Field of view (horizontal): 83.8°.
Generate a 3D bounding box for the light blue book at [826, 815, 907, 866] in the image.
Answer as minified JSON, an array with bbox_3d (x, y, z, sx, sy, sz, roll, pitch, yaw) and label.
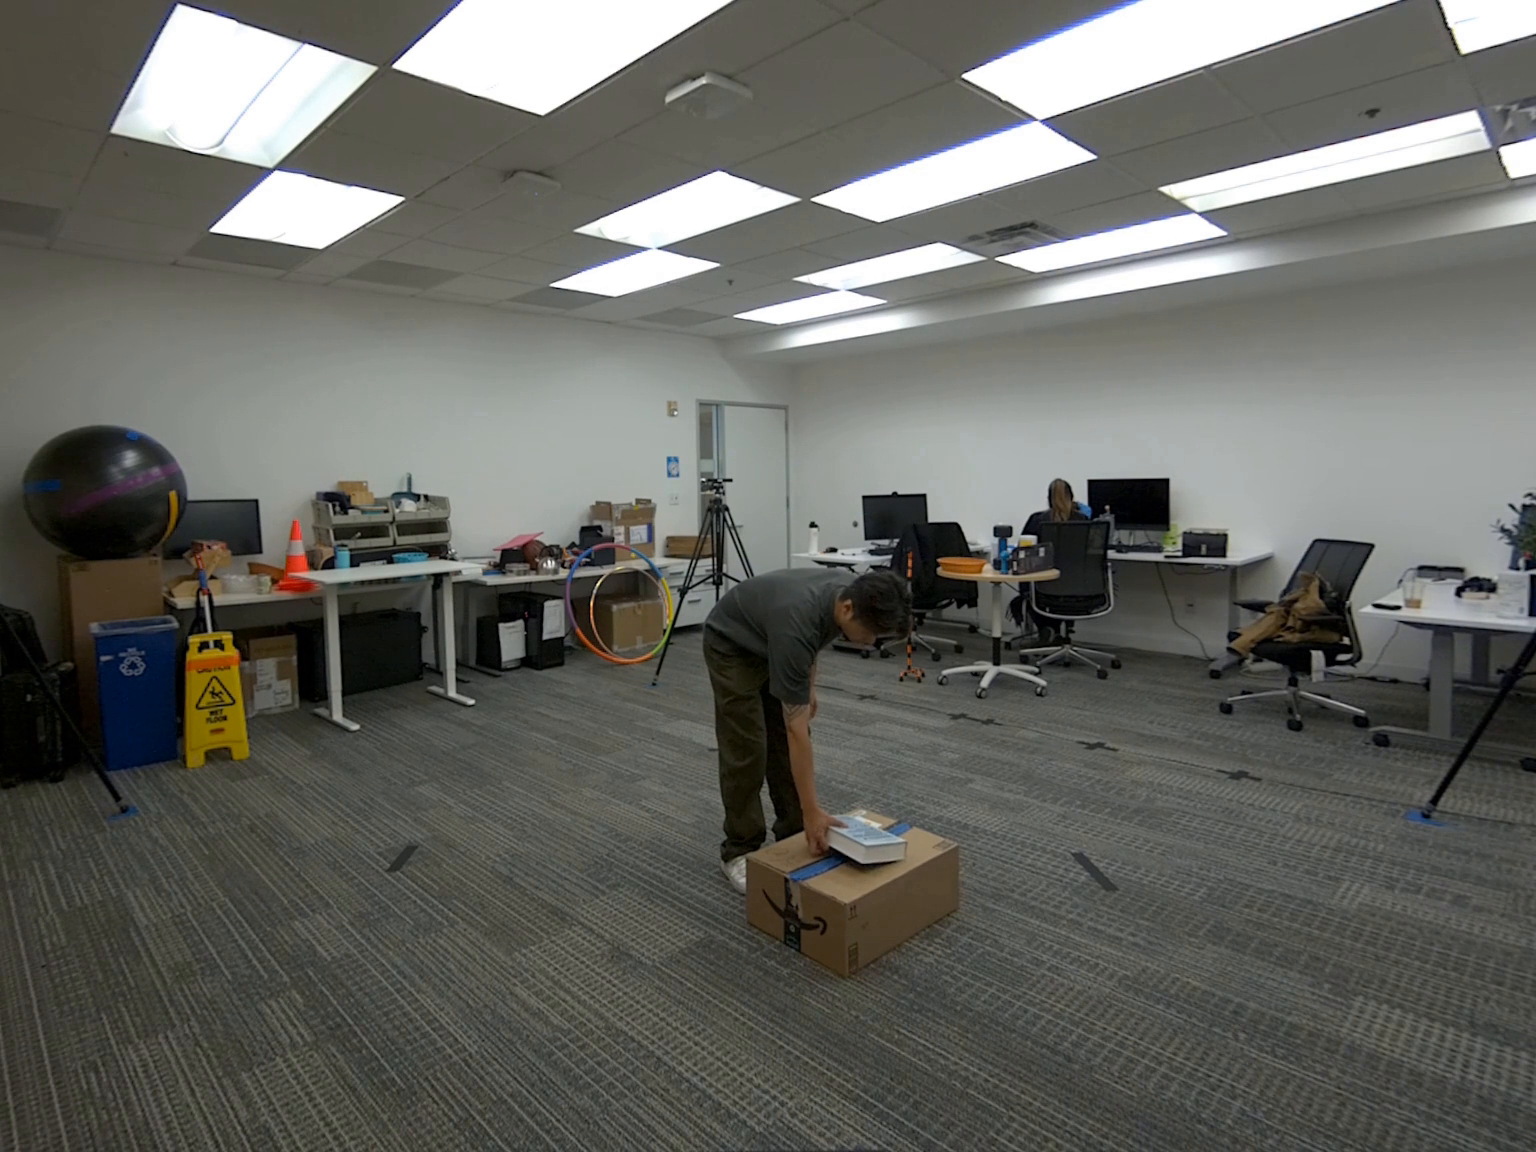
[{"bbox_3d":[0.291,0.830,2.699,0.185,0.059,0.269,8,0,-36],"label":"light blue book"}]
